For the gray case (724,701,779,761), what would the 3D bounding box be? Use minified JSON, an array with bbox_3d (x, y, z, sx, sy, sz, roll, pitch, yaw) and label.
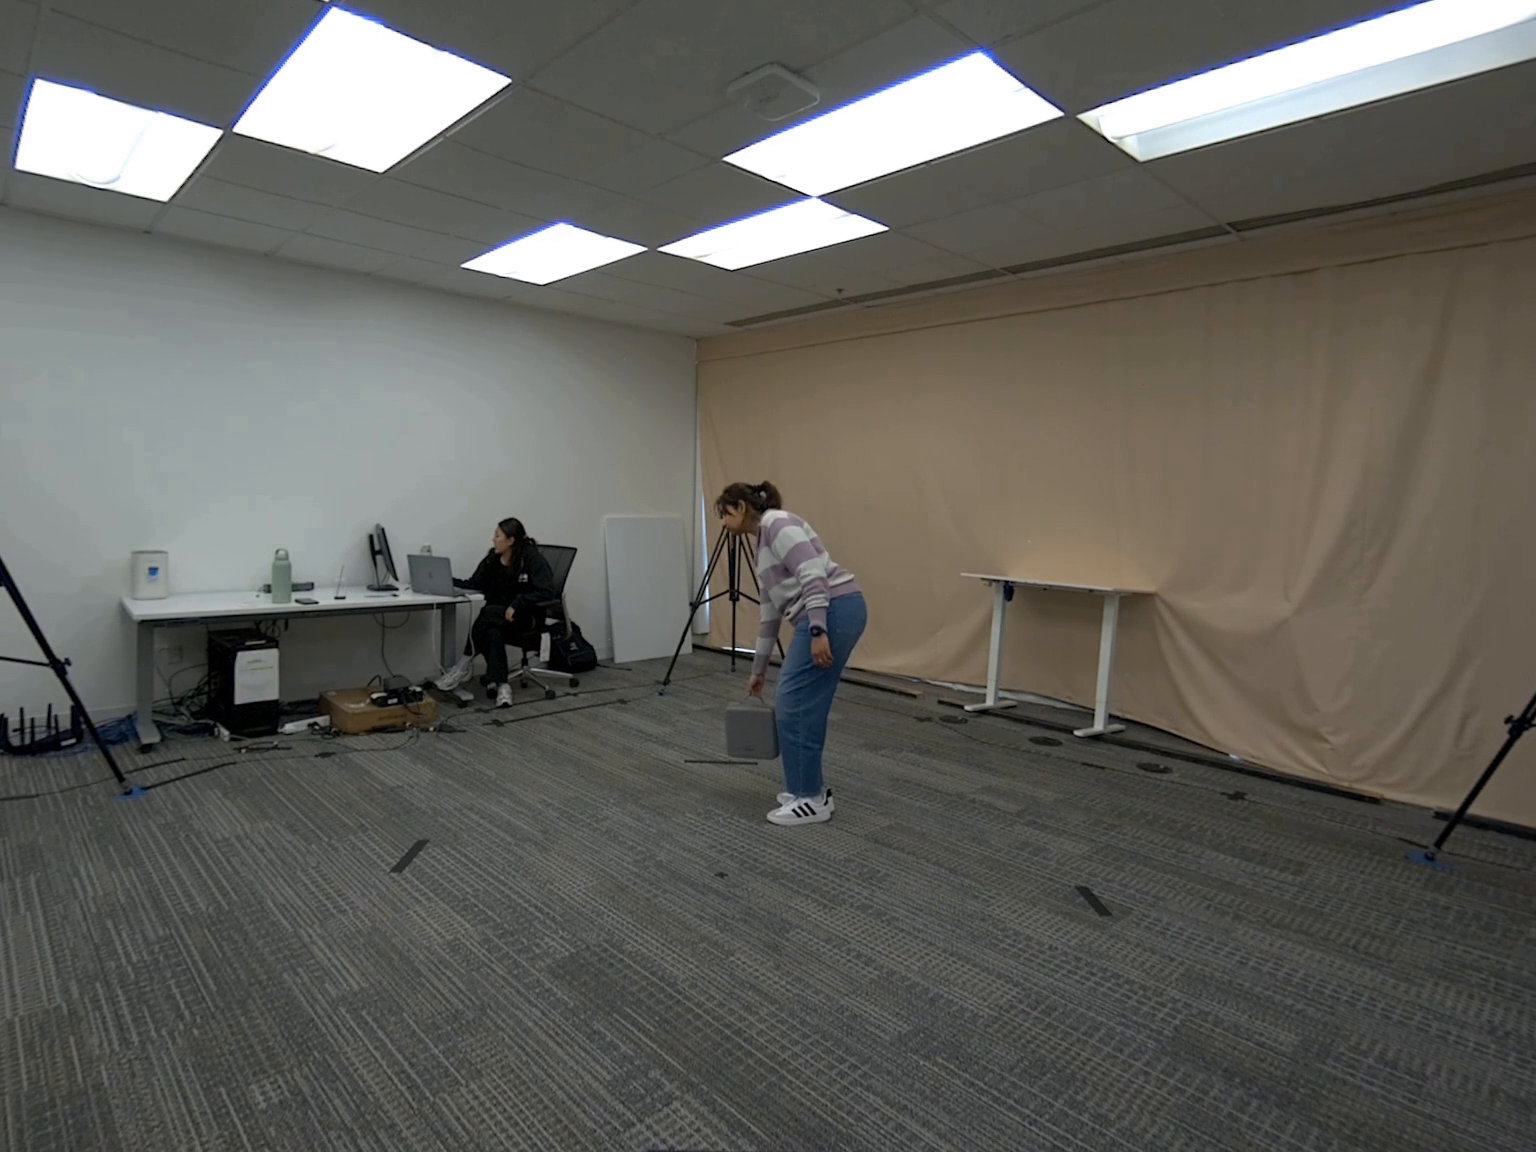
[{"bbox_3d":[-0.085,0.722,3.991,0.260,0.259,0.103,1,10,17],"label":"gray case"}]
